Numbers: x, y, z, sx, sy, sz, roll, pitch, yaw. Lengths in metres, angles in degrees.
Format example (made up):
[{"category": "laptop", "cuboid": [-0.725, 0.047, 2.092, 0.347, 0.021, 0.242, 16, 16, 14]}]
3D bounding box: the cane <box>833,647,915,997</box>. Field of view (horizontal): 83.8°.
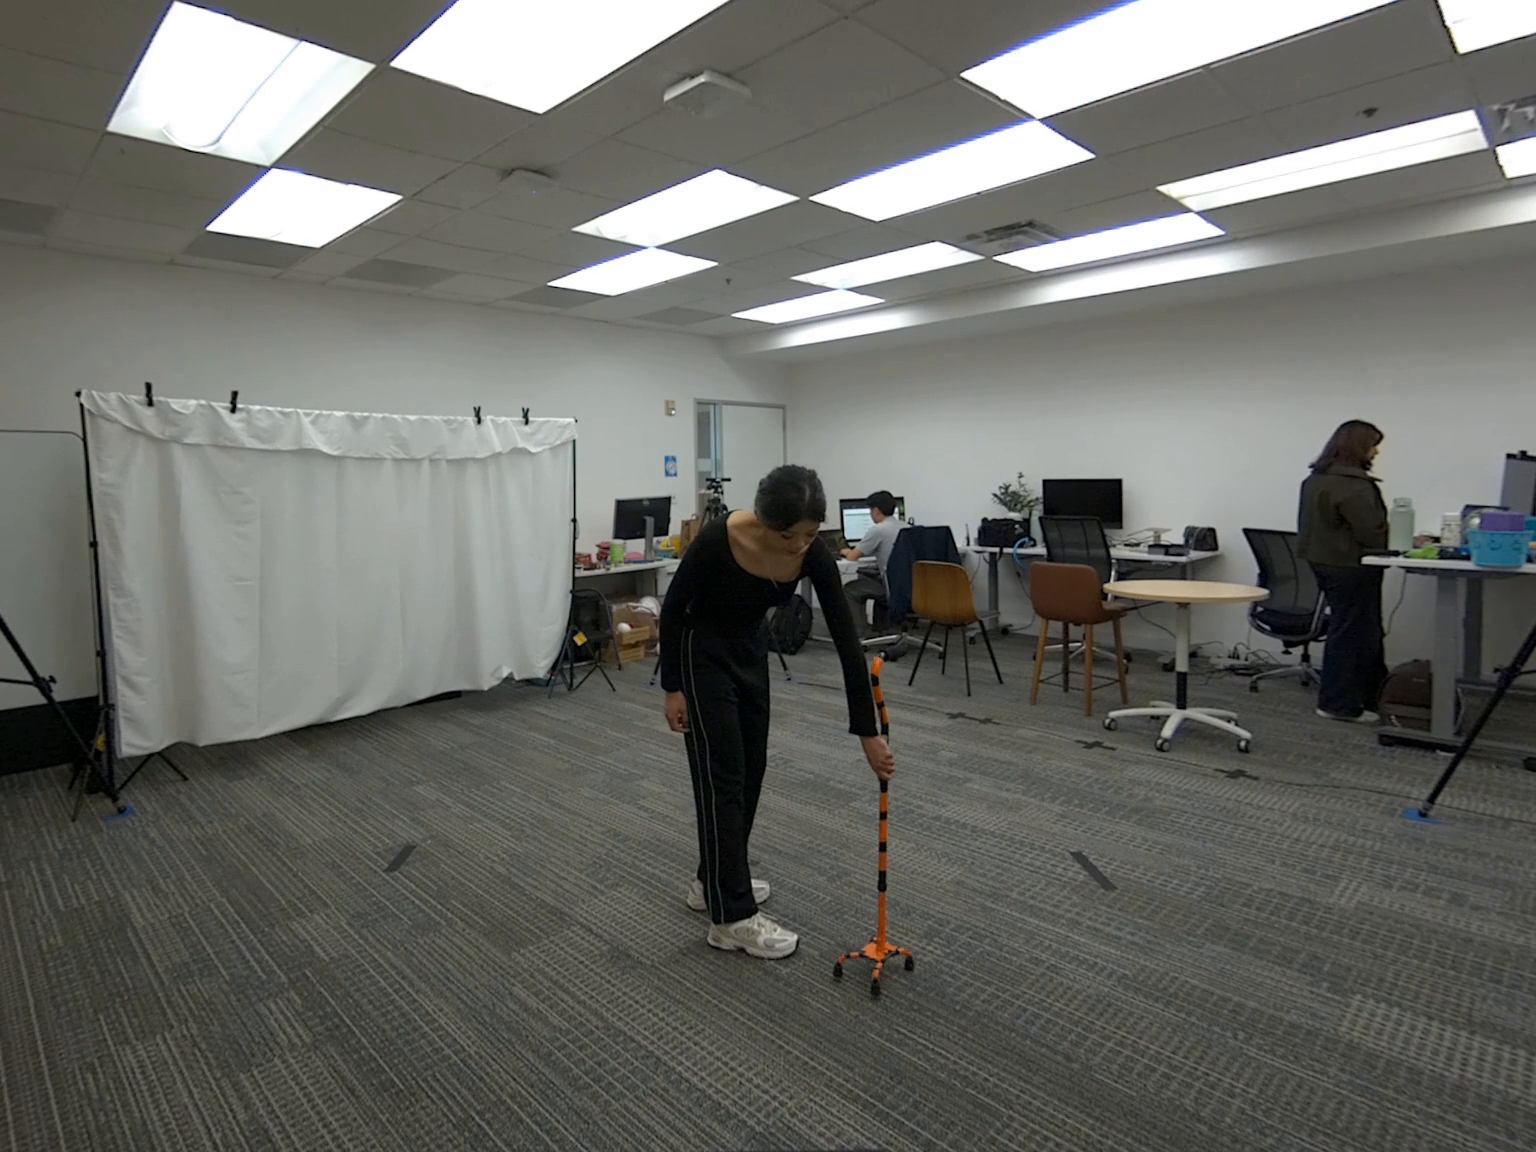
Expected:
[{"category": "cane", "cuboid": [0.318, 0.654, 2.386, 0.200, 0.907, 0.156, 1, 2, -44]}]
